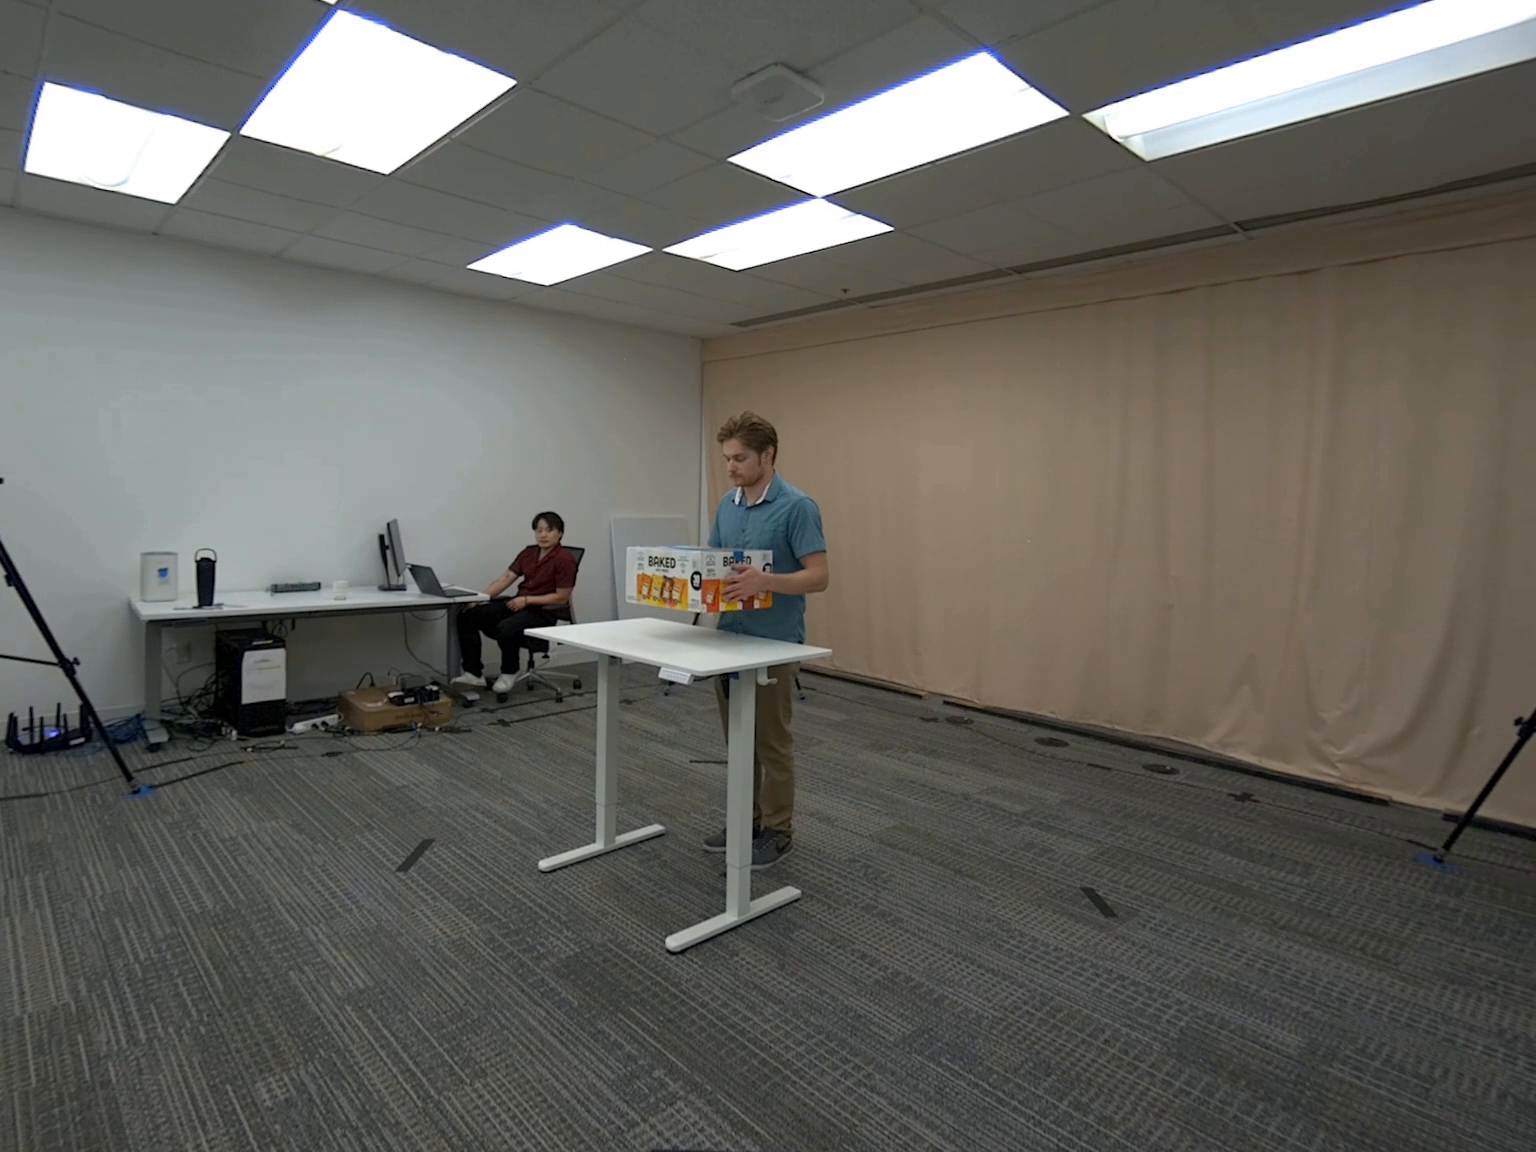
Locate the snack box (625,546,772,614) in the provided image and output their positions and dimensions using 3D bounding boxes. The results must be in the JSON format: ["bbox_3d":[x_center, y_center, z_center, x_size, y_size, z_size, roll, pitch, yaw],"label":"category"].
[{"bbox_3d":[-0.257,0.005,3.014,0.415,0.205,0.332,5,5,44],"label":"snack box"}]
